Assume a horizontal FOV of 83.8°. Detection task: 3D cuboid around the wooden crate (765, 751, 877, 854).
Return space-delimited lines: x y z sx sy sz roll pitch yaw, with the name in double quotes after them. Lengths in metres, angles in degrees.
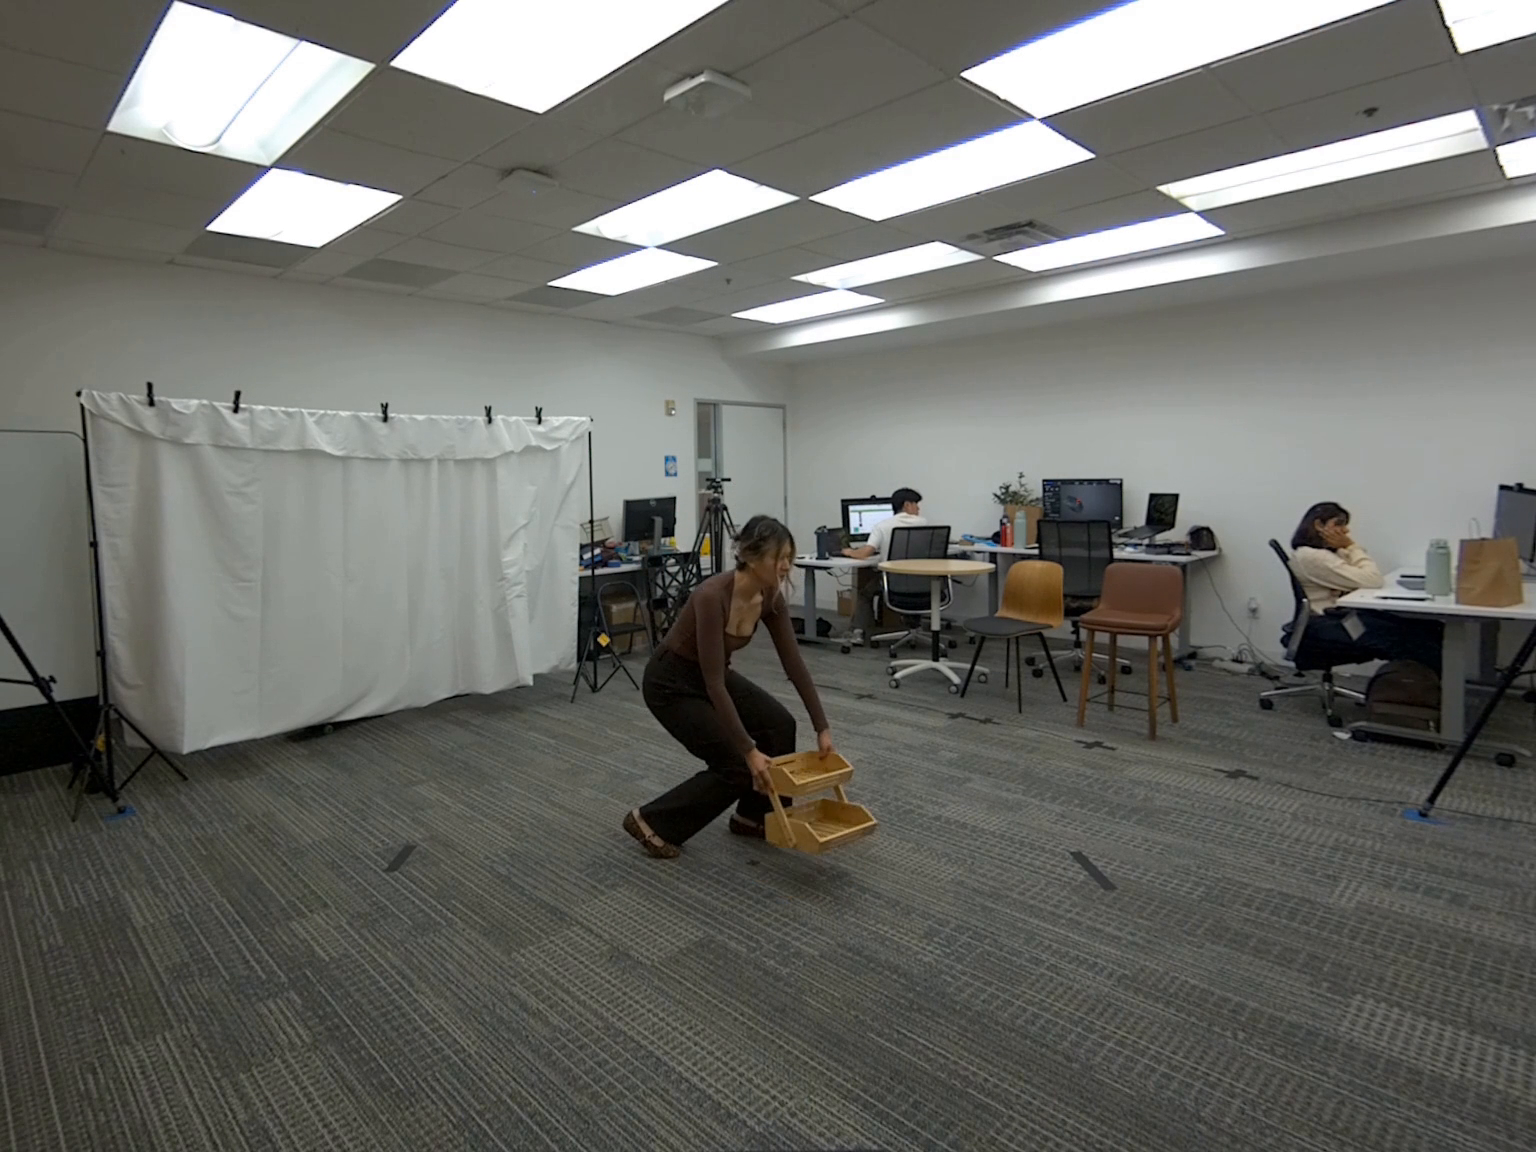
0.167 0.766 2.973 0.315 0.274 0.310 -1 -3 -45 "wooden crate"
